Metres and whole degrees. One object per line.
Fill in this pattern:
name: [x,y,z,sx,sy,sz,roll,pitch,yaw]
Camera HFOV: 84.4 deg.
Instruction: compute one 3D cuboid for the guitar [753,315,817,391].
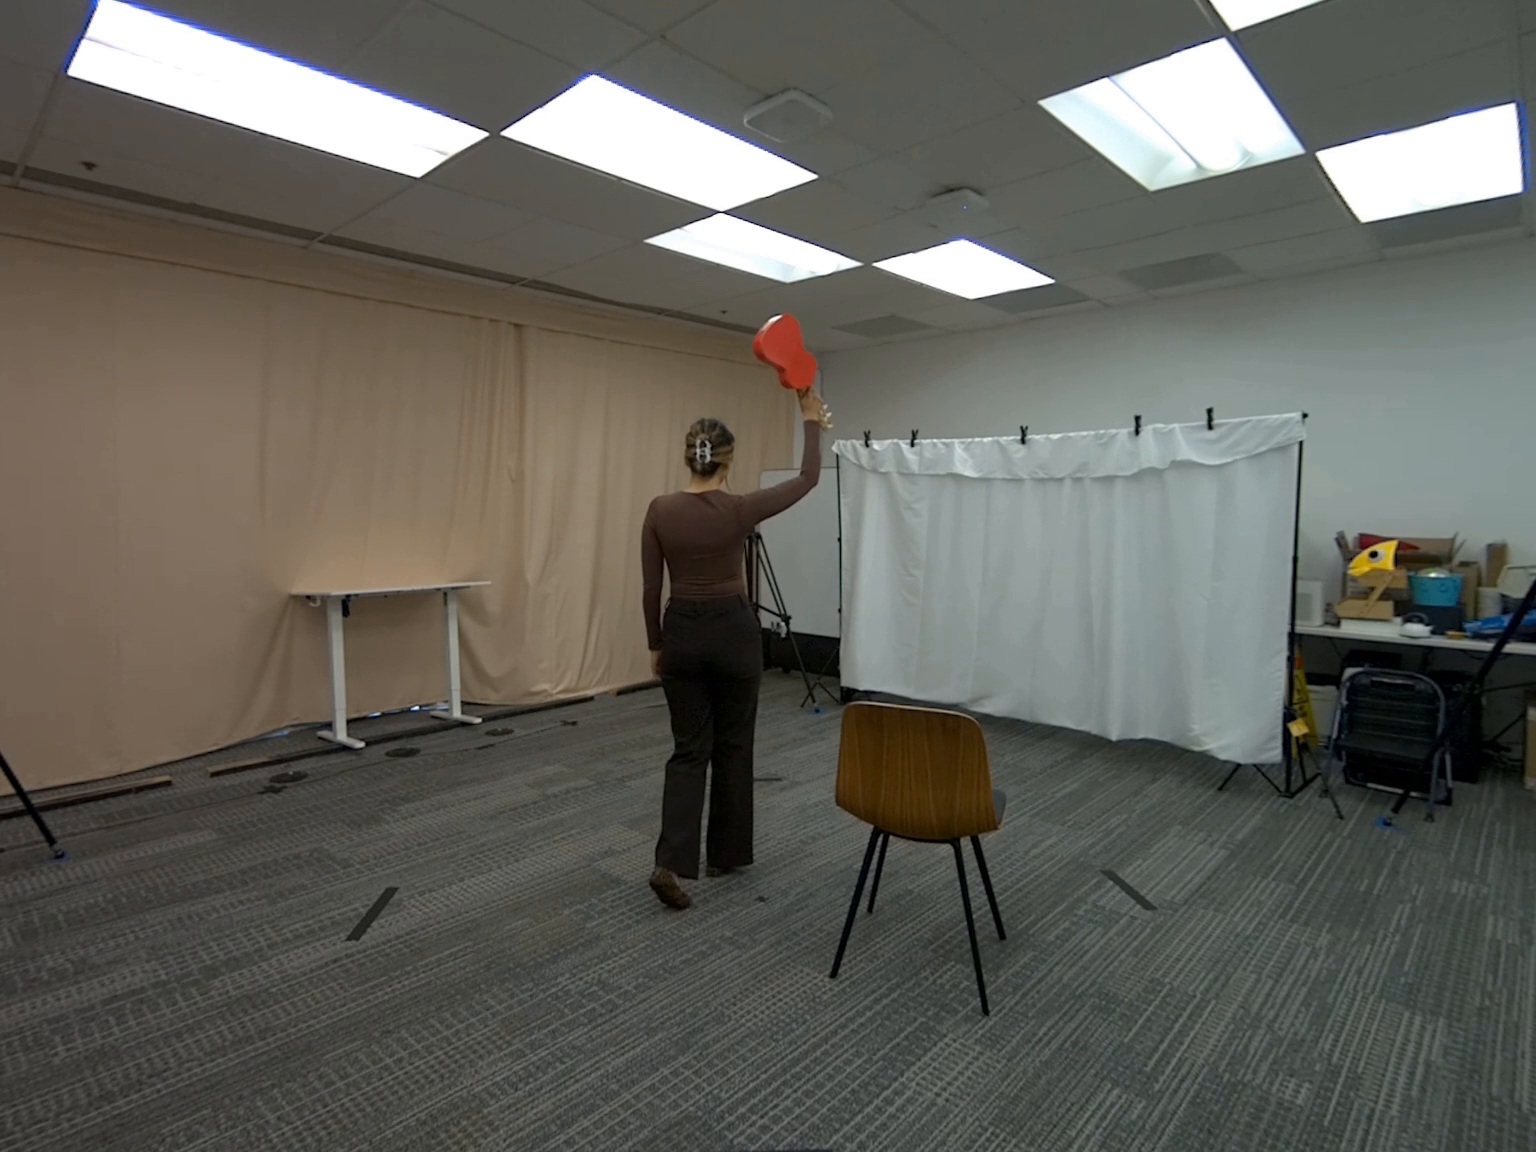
guitar: [0.146,-0.760,3.170,0.482,0.193,0.073,43,-17,-31]
